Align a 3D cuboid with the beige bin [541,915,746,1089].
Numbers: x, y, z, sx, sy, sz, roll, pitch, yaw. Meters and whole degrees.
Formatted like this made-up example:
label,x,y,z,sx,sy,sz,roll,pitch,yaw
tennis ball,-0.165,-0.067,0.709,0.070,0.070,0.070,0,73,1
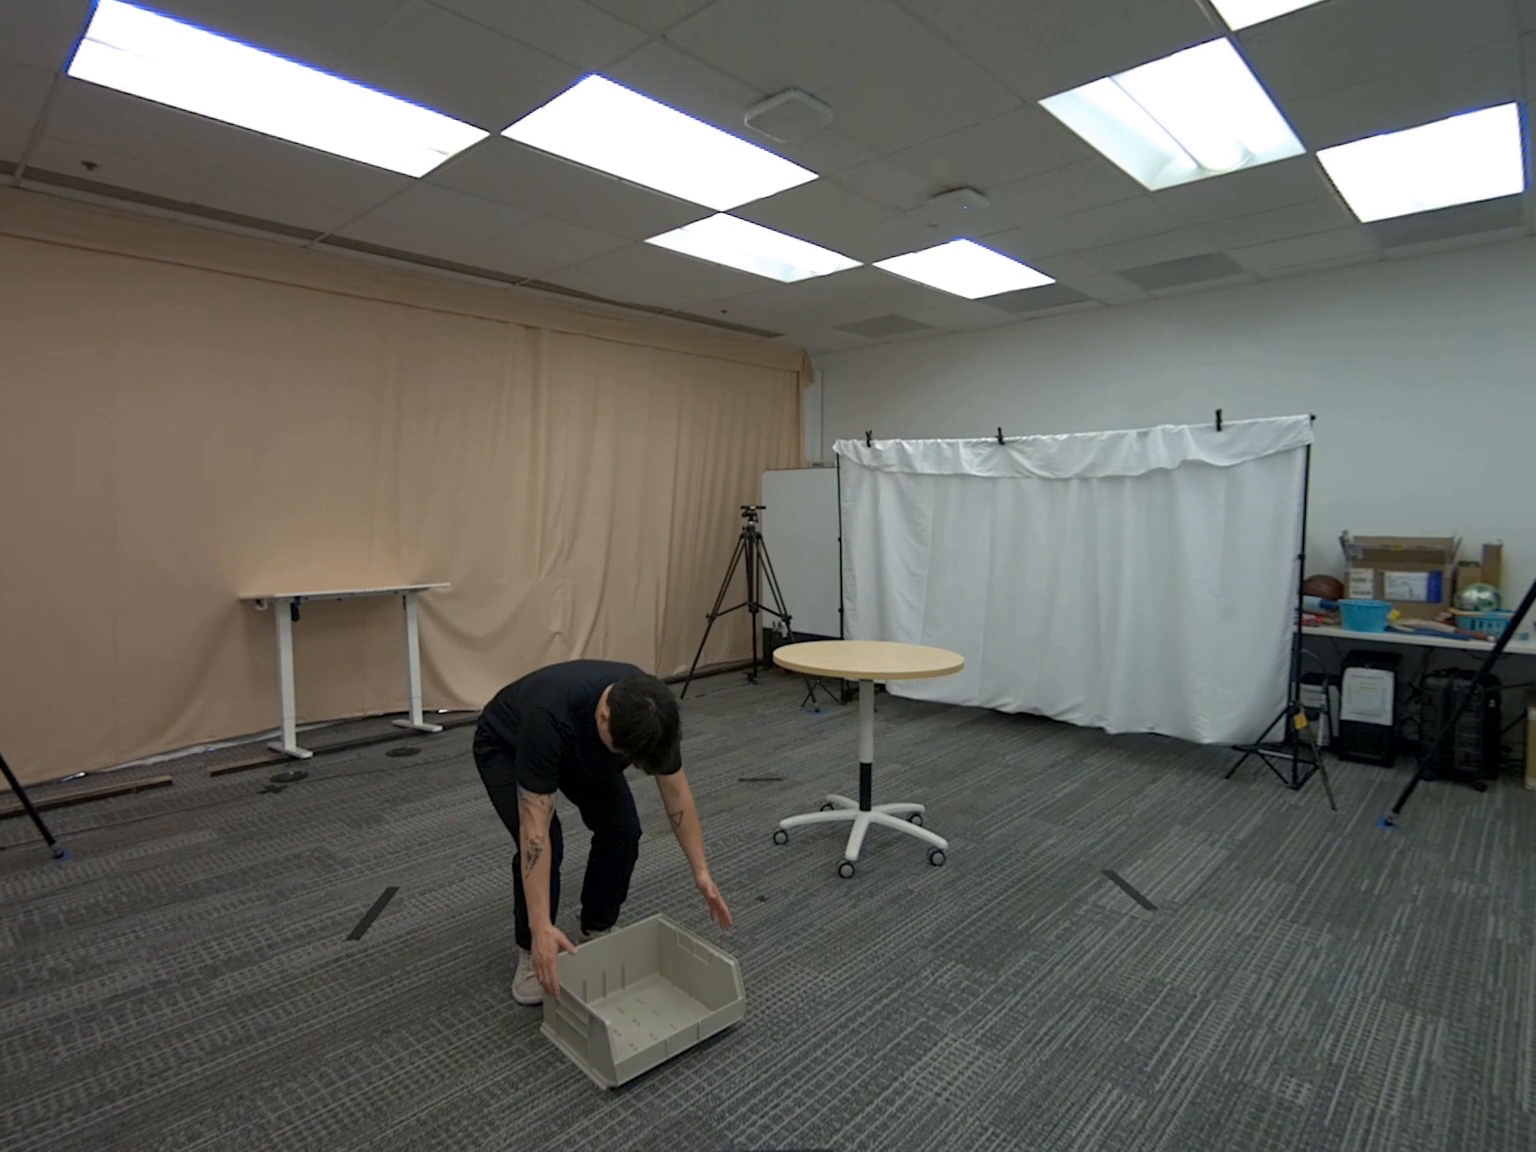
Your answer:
label,x,y,z,sx,sy,sz,roll,pitch,yaw
beige bin,-0.332,1.119,2.234,0.409,0.188,0.390,-4,5,-42
